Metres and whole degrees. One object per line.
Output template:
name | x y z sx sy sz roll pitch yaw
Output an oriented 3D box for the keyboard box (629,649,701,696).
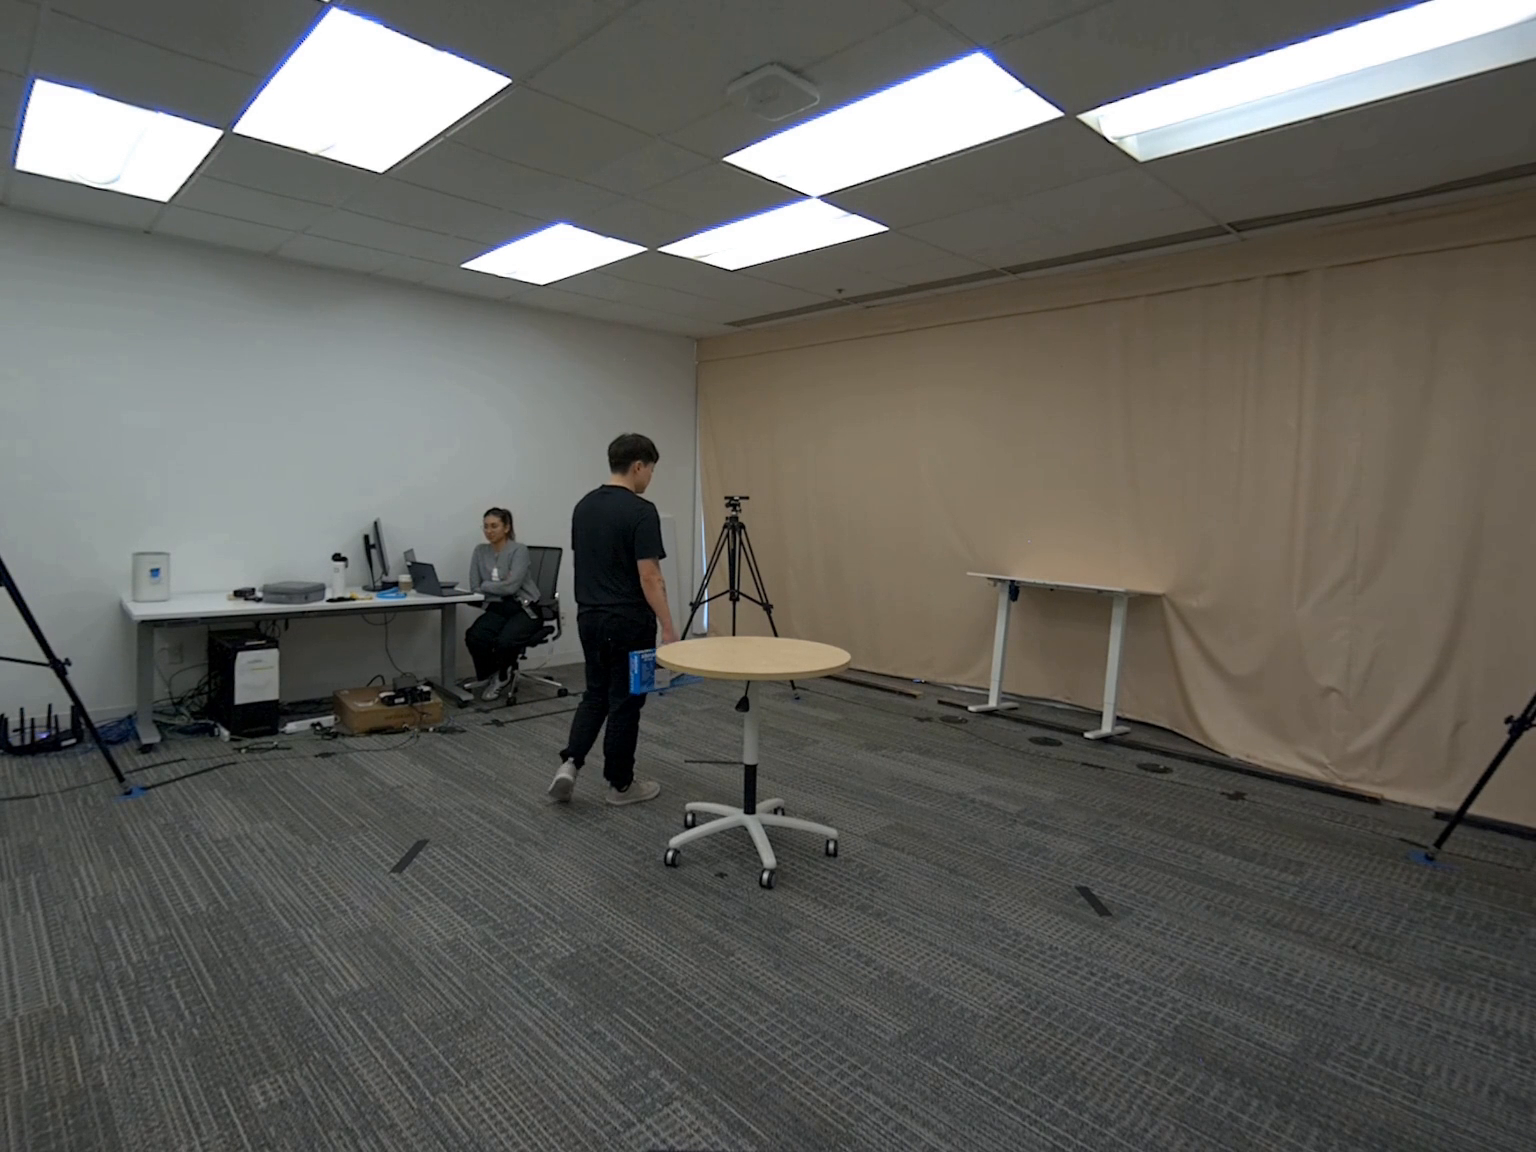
keyboard box | -0.446 0.397 3.662 0.060 0.176 0.427 -1 1 32
